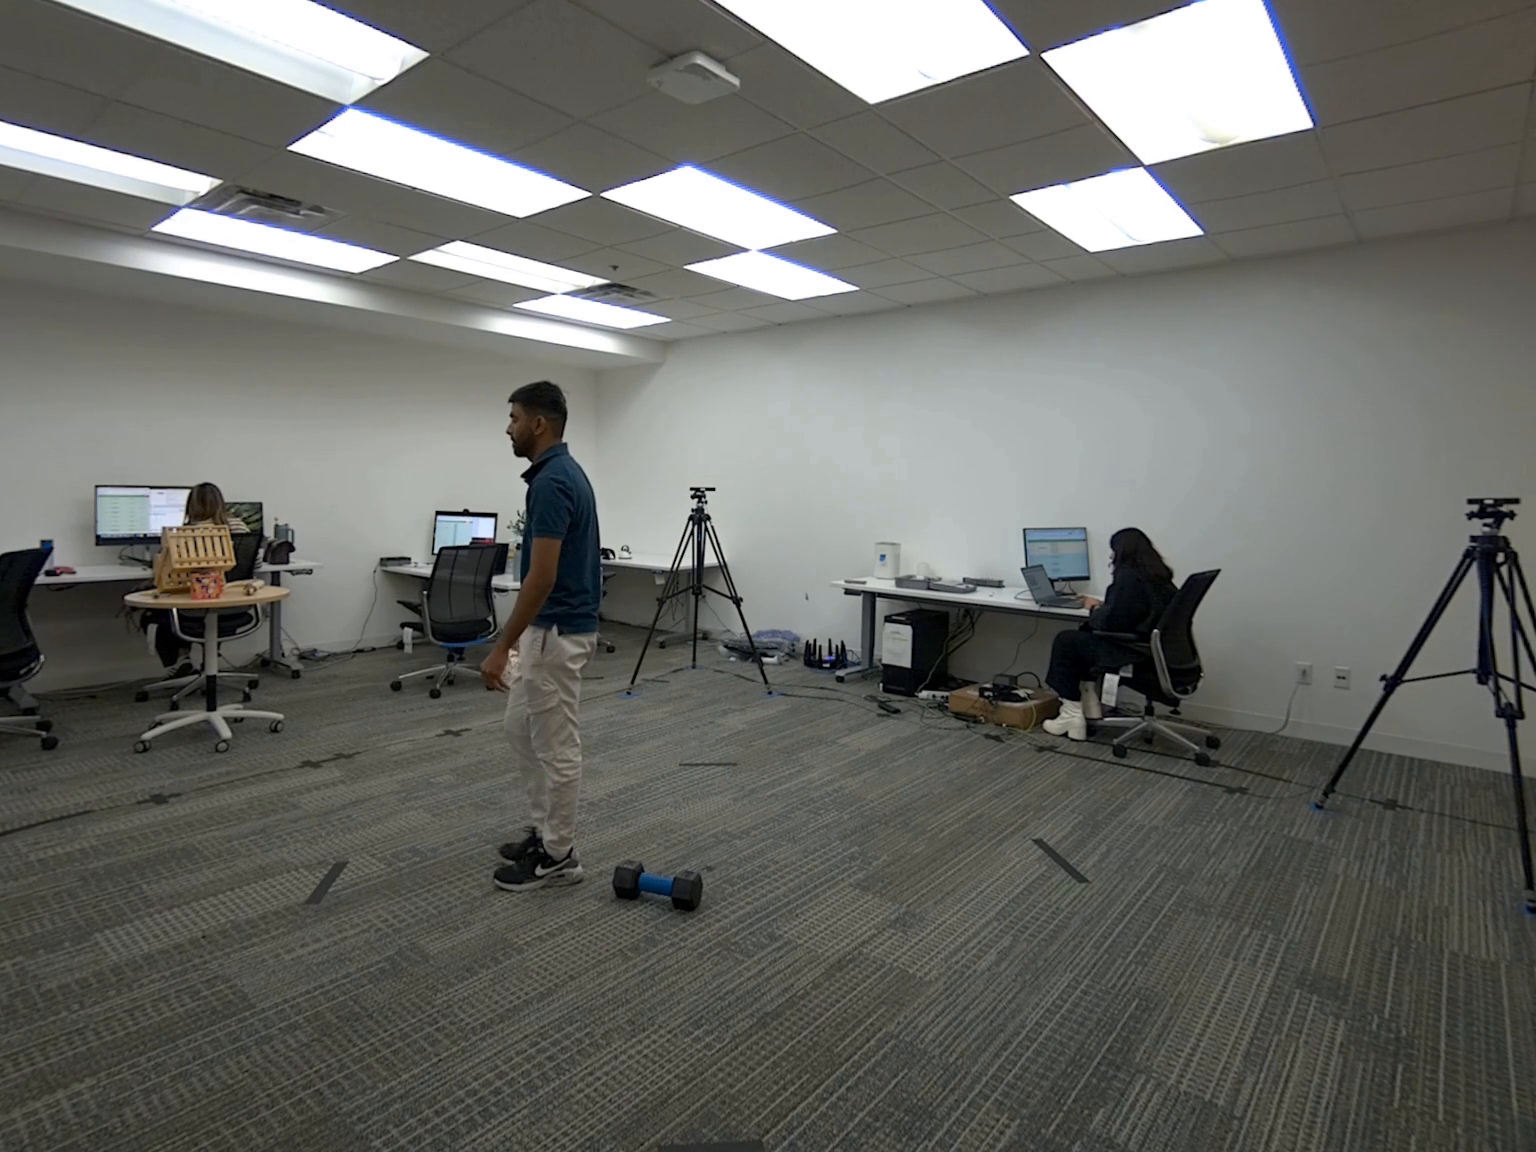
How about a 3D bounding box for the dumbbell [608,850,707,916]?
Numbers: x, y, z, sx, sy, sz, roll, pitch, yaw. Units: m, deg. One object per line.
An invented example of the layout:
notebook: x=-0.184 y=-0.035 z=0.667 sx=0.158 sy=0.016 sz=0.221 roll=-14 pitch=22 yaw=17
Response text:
dumbbell: x=-0.374 y=1.034 z=2.842 sx=0.299 sy=0.119 sz=0.110 roll=3 pitch=33 yaw=18
